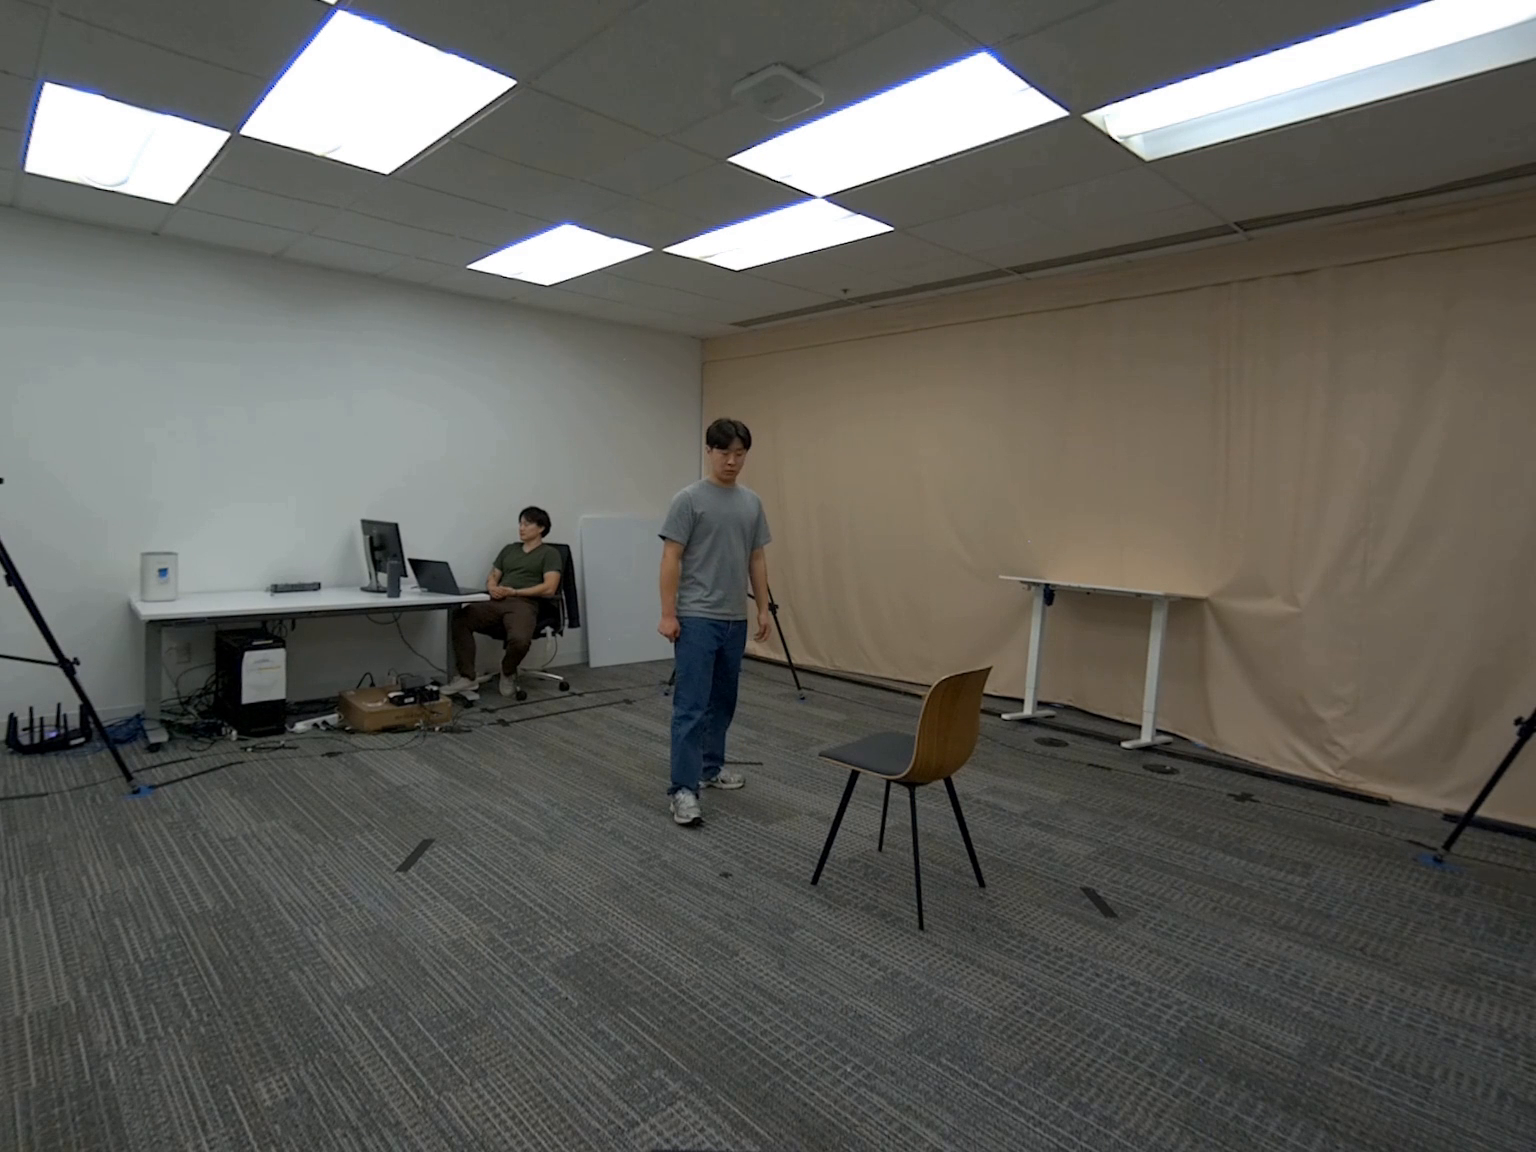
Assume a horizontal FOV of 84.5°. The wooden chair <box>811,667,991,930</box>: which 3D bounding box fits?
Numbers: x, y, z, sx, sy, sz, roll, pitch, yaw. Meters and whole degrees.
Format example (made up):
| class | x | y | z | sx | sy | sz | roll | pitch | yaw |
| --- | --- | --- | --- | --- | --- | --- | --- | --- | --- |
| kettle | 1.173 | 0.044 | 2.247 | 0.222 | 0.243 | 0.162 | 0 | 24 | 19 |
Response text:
| class | x | y | z | sx | sy | sz | roll | pitch | yaw |
| --- | --- | --- | --- | --- | --- | --- | --- | --- | --- |
| wooden chair | 0.473 | 0.698 | 3.023 | 0.537 | 0.873 | 0.467 | 11 | 9 | 41 |
